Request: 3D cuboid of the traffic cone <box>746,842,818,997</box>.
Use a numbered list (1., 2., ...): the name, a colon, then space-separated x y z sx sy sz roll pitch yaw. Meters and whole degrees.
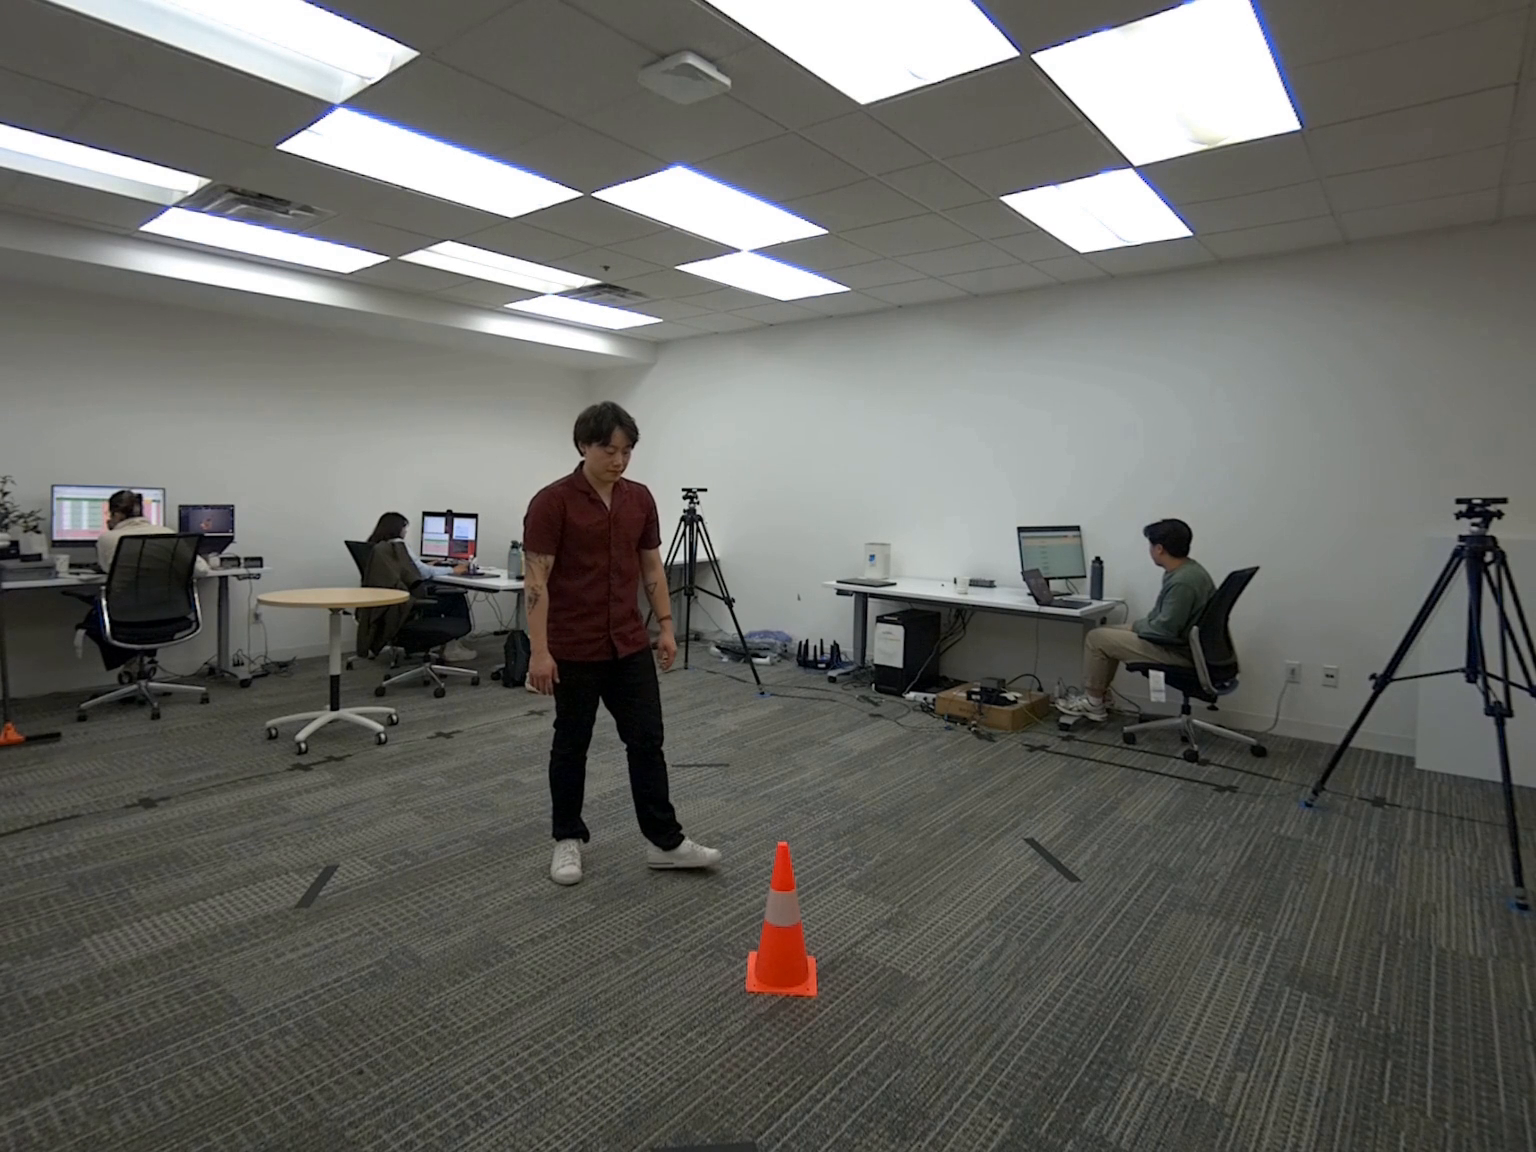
1. traffic cone: 0.044 0.956 2.428 0.207 0.382 0.202 2 4 6
